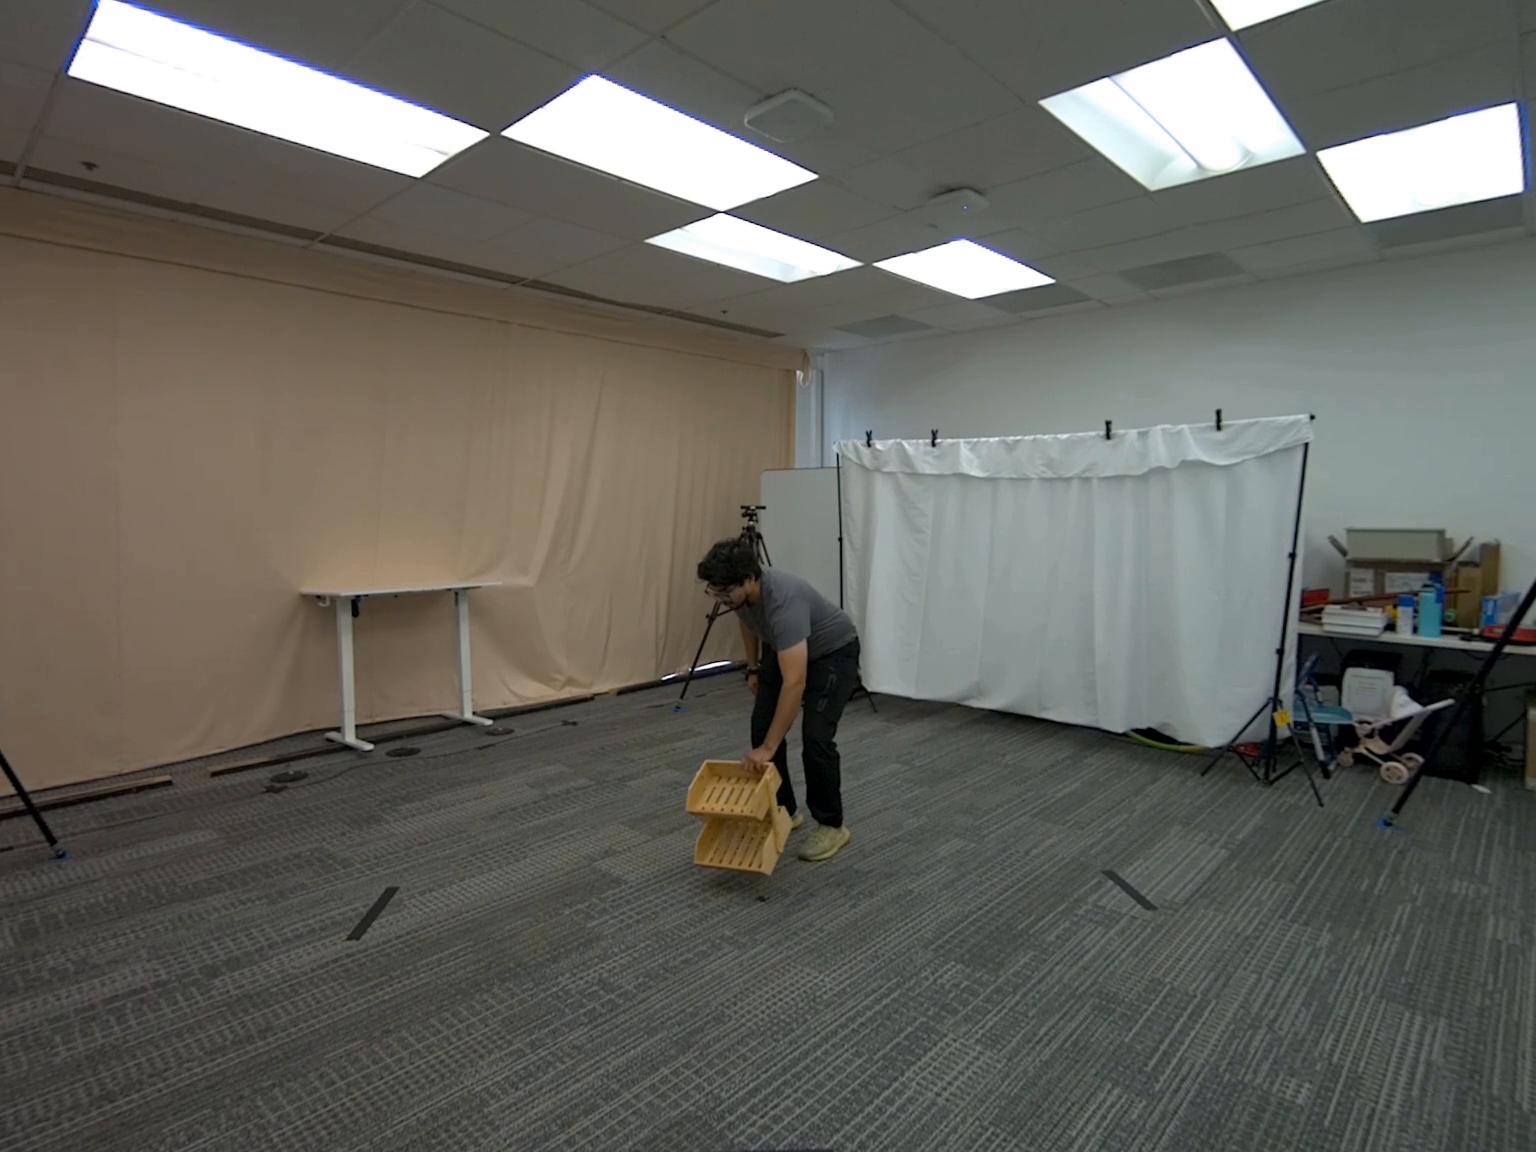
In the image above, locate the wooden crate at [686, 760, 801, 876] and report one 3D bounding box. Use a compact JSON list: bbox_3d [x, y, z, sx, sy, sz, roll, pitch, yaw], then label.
[{"bbox_3d":[-0.120,0.873,3.055,0.333,0.267,0.300,-7,30,33],"label":"wooden crate"}]
